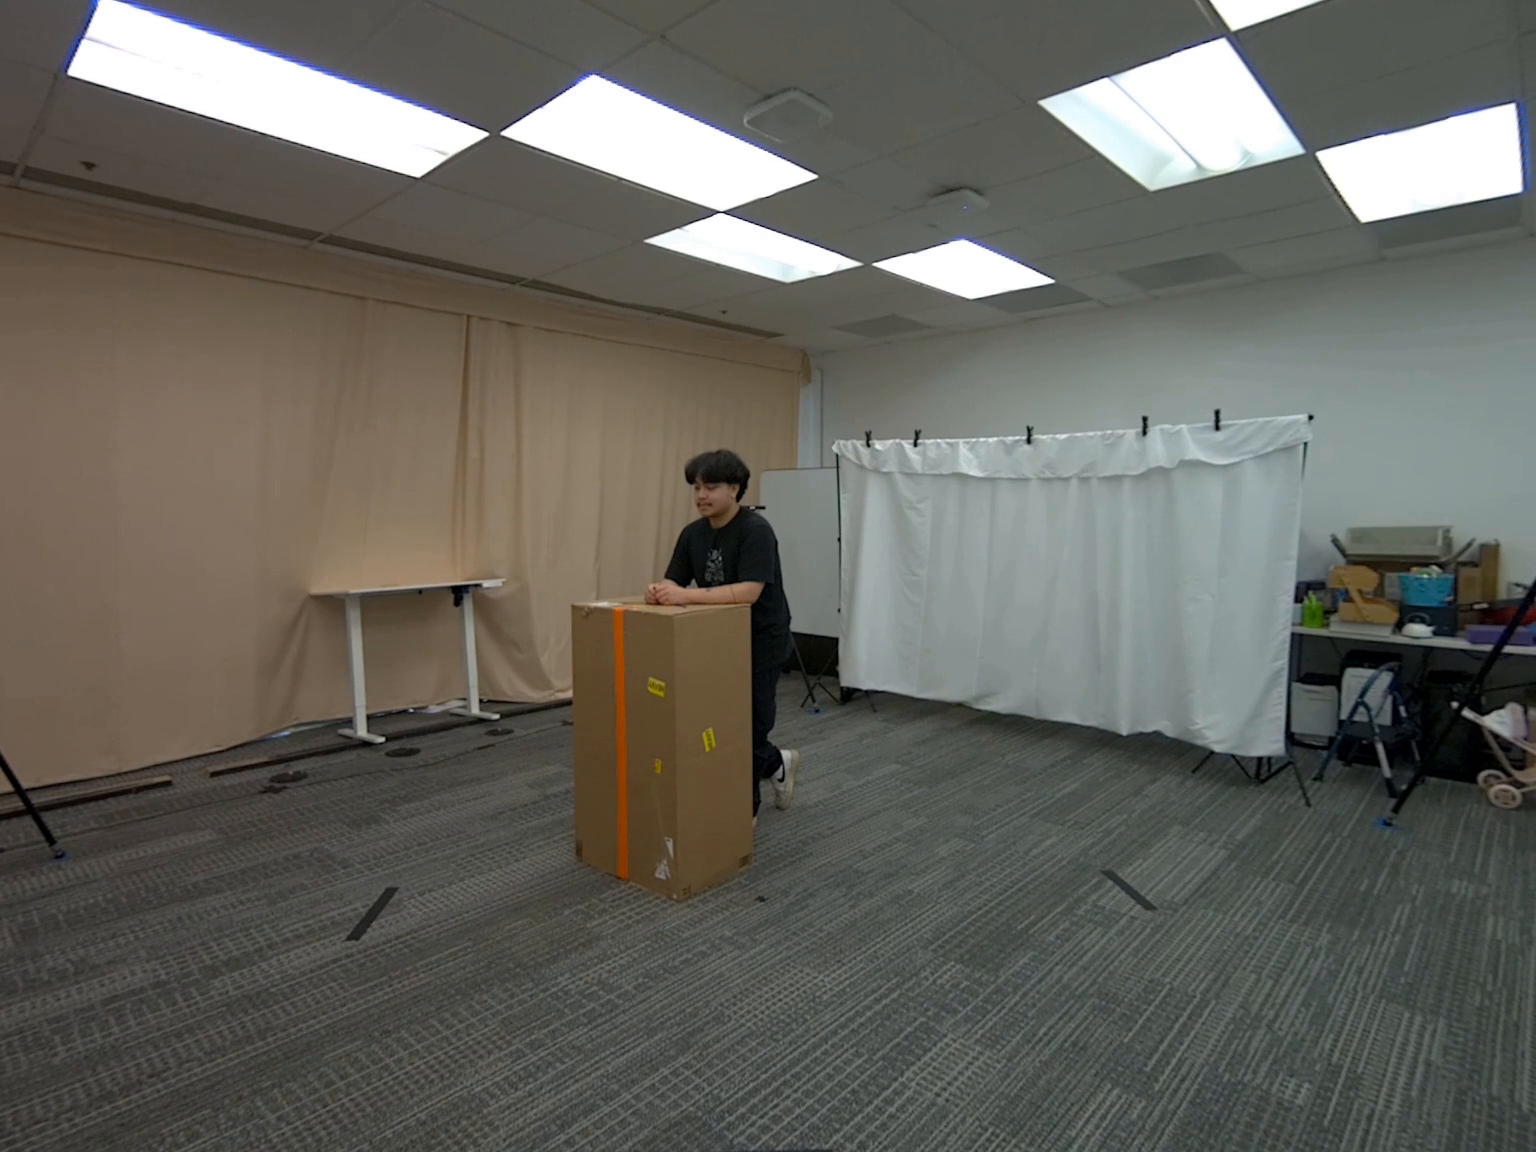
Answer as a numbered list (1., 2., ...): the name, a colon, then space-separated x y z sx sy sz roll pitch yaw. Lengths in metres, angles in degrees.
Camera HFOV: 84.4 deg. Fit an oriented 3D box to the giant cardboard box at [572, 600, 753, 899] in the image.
1. giant cardboard box: -0.420 0.613 3.282 0.603 1.025 0.433 2 4 41
